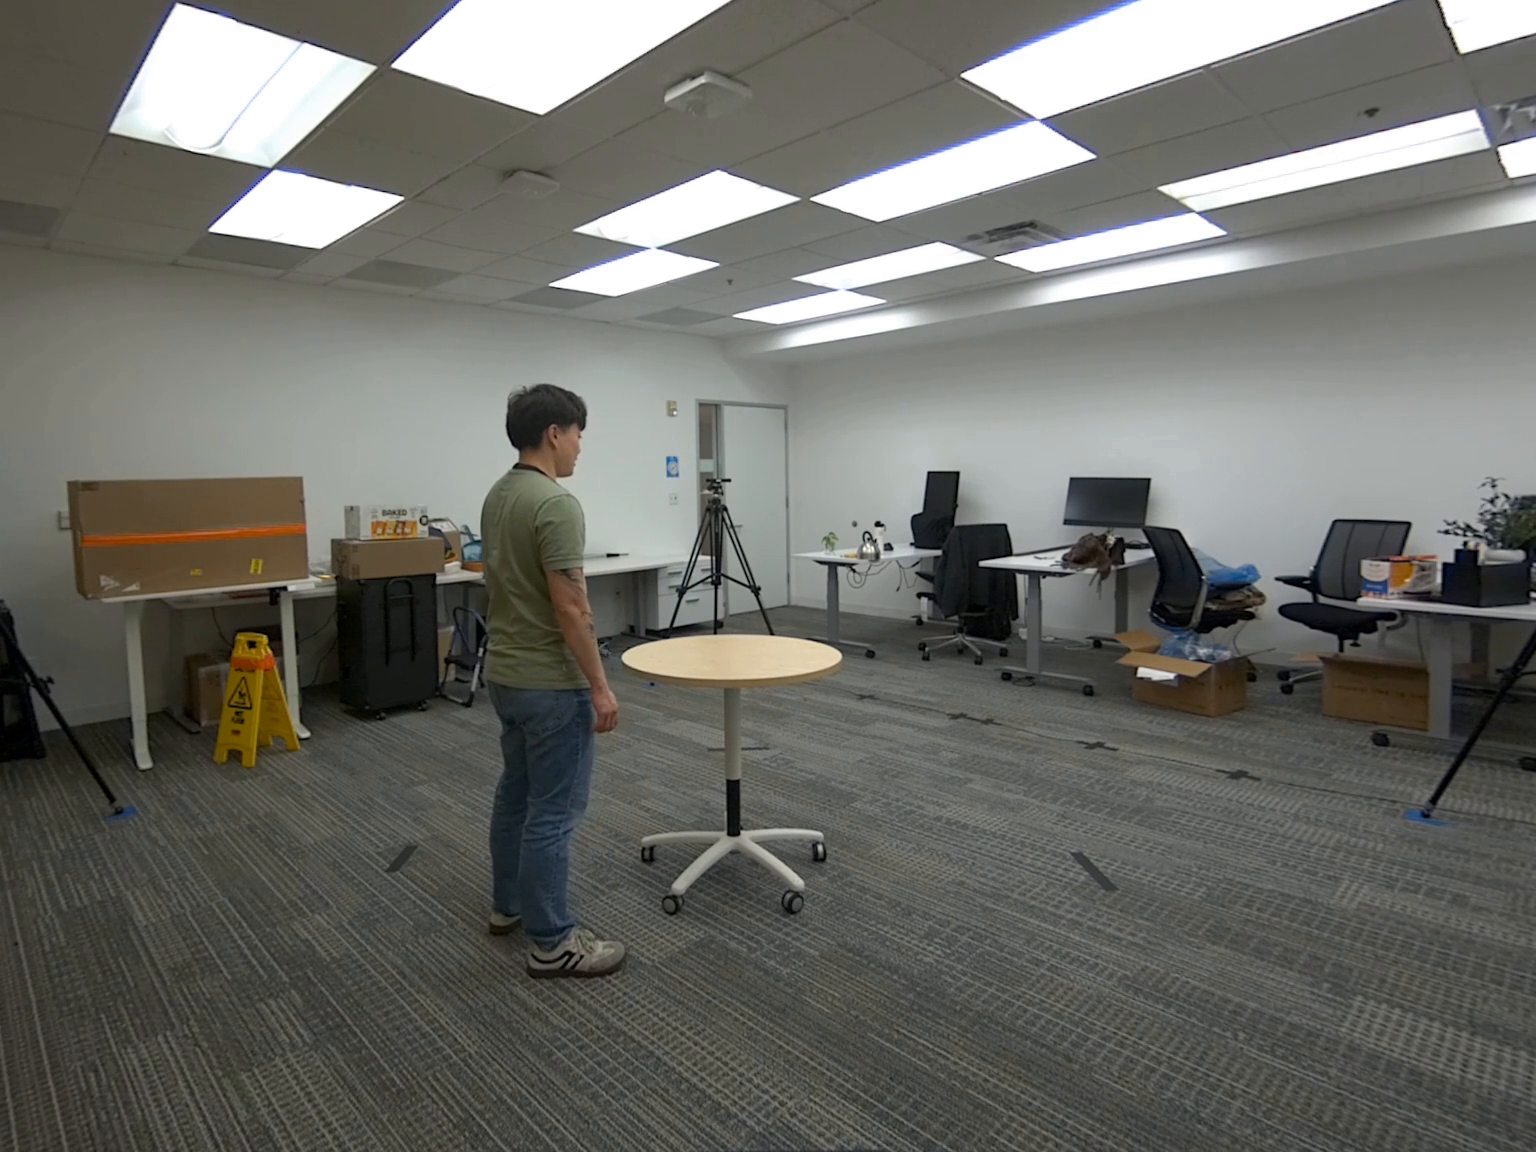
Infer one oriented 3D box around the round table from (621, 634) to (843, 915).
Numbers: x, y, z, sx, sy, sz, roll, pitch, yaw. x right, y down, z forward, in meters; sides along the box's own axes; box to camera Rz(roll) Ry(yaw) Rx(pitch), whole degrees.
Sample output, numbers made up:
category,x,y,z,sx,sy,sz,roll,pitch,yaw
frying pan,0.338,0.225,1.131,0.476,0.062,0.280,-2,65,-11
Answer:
category,x,y,z,sx,sy,sz,roll,pitch,yaw
round table,-0.119,0.665,3.015,0.763,0.791,0.768,-1,5,-2
